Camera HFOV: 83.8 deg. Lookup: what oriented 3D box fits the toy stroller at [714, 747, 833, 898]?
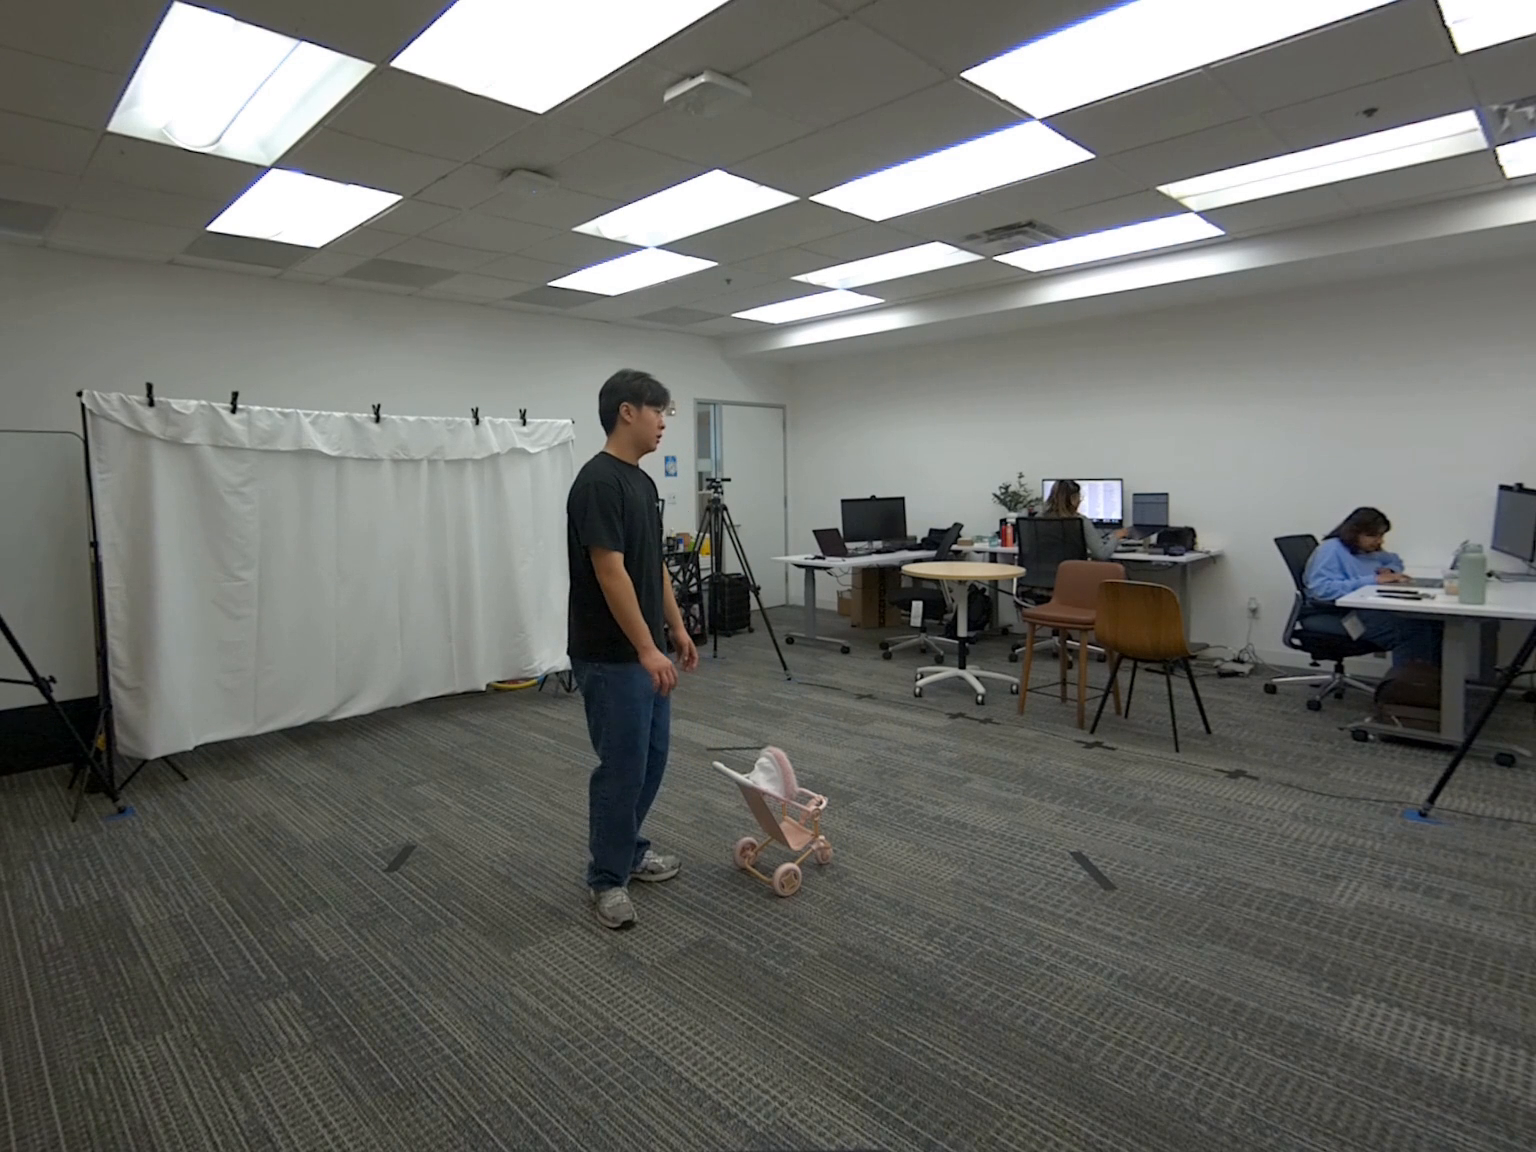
[{"bbox_3d":[0.047,0.829,2.980,0.336,0.528,0.289,-21,13,-26],"label":"toy stroller"}]
